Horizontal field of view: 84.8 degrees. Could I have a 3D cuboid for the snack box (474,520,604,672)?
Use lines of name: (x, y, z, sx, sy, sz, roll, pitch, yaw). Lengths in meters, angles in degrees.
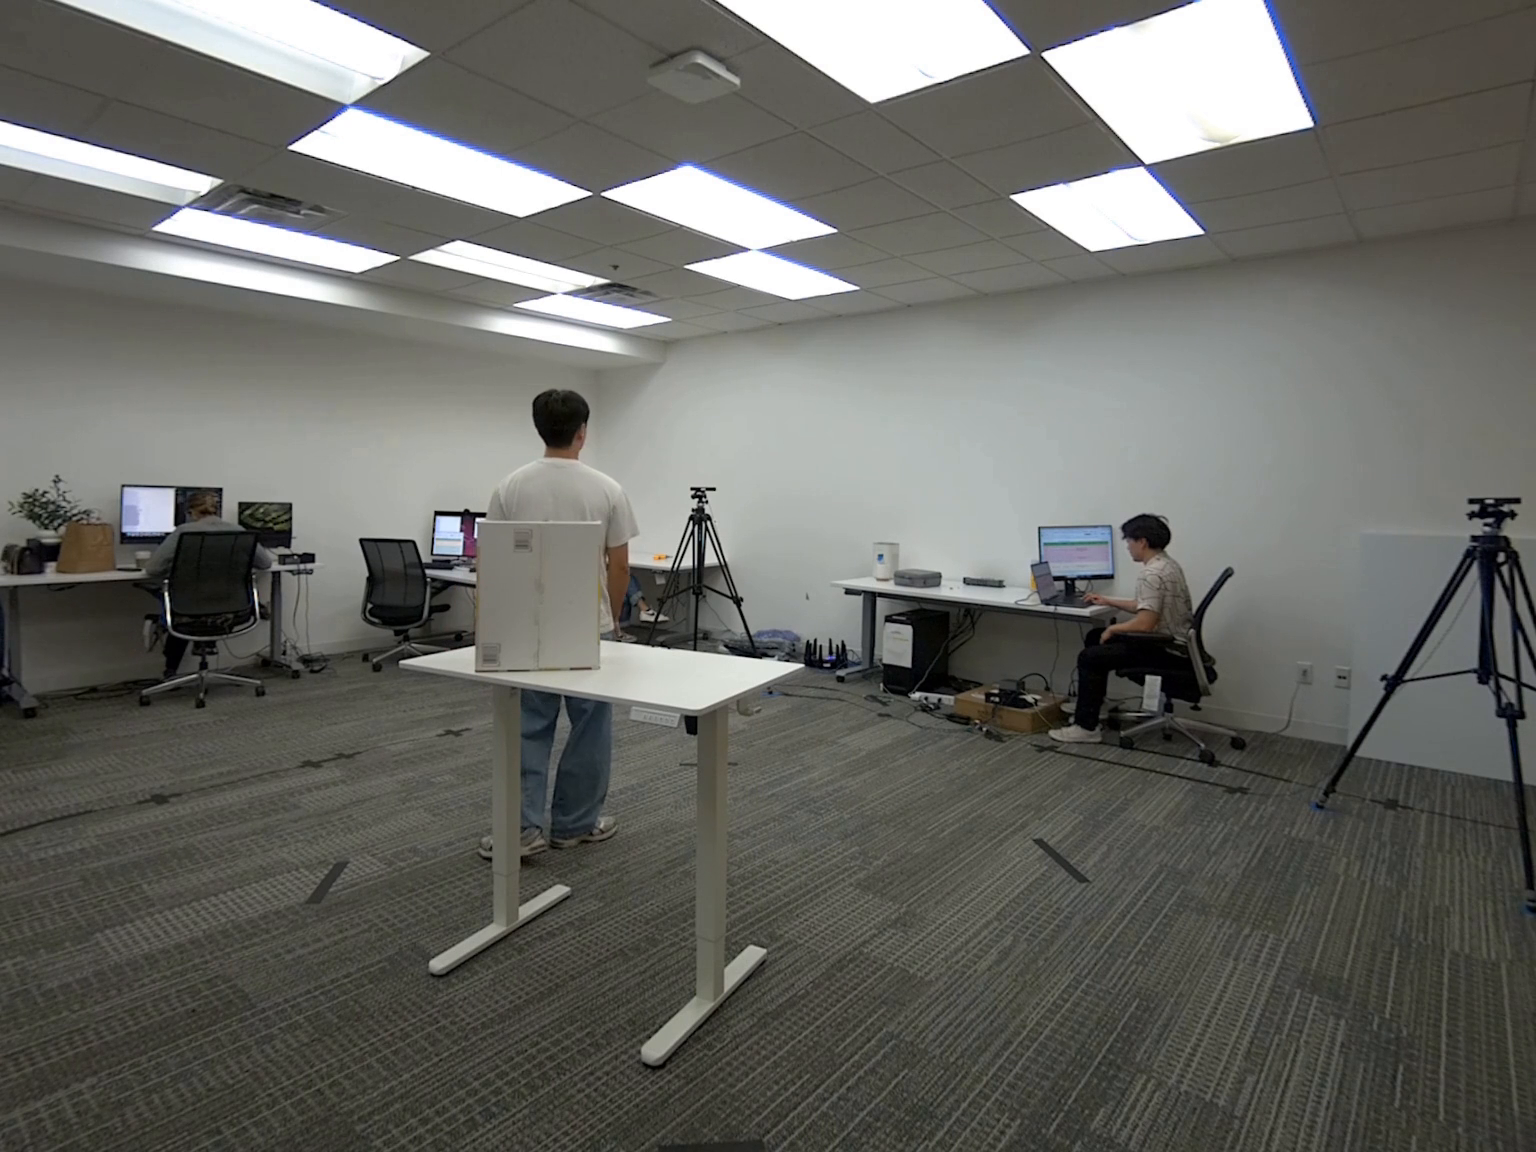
snack box: (-0.654, 0.043, 2.403, 0.337, 0.404, 0.208, 1, 3, -10)
